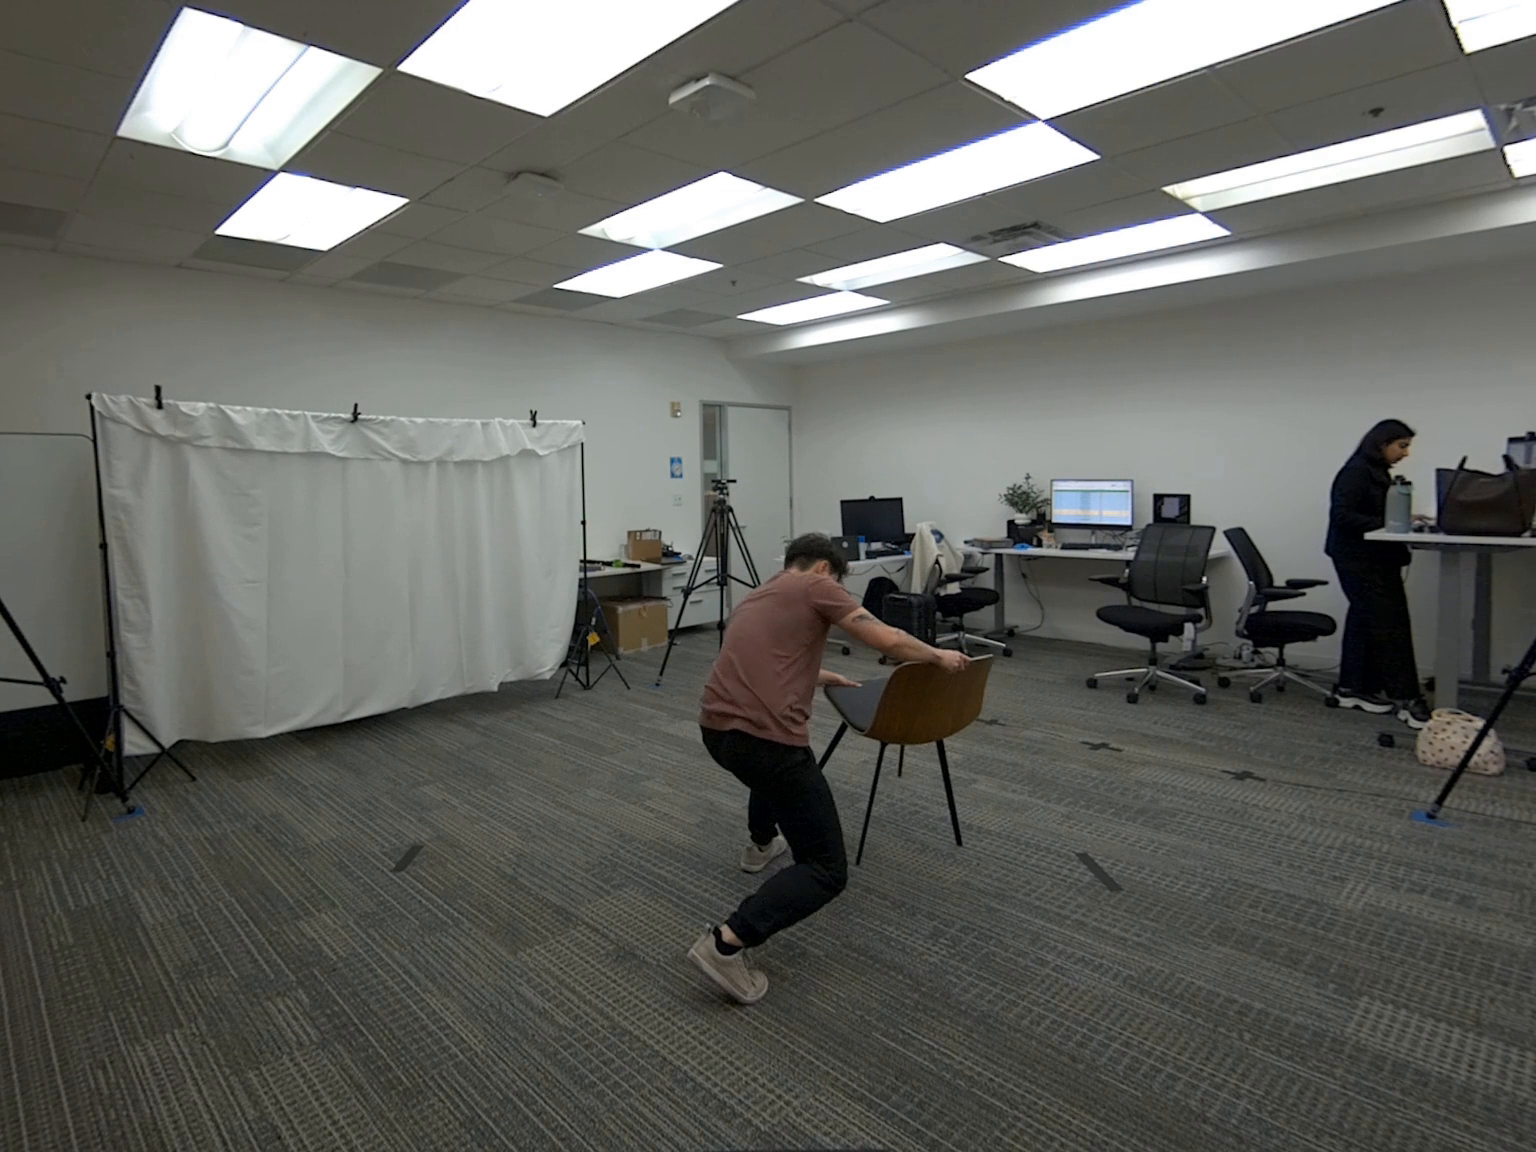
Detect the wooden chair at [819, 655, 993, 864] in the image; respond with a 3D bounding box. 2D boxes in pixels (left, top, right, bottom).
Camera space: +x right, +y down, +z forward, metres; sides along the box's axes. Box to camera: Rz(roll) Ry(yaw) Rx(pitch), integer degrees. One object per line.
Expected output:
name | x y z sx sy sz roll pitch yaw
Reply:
wooden chair | 0.477 0.549 3.217 0.469 0.862 0.542 -3 27 -21
